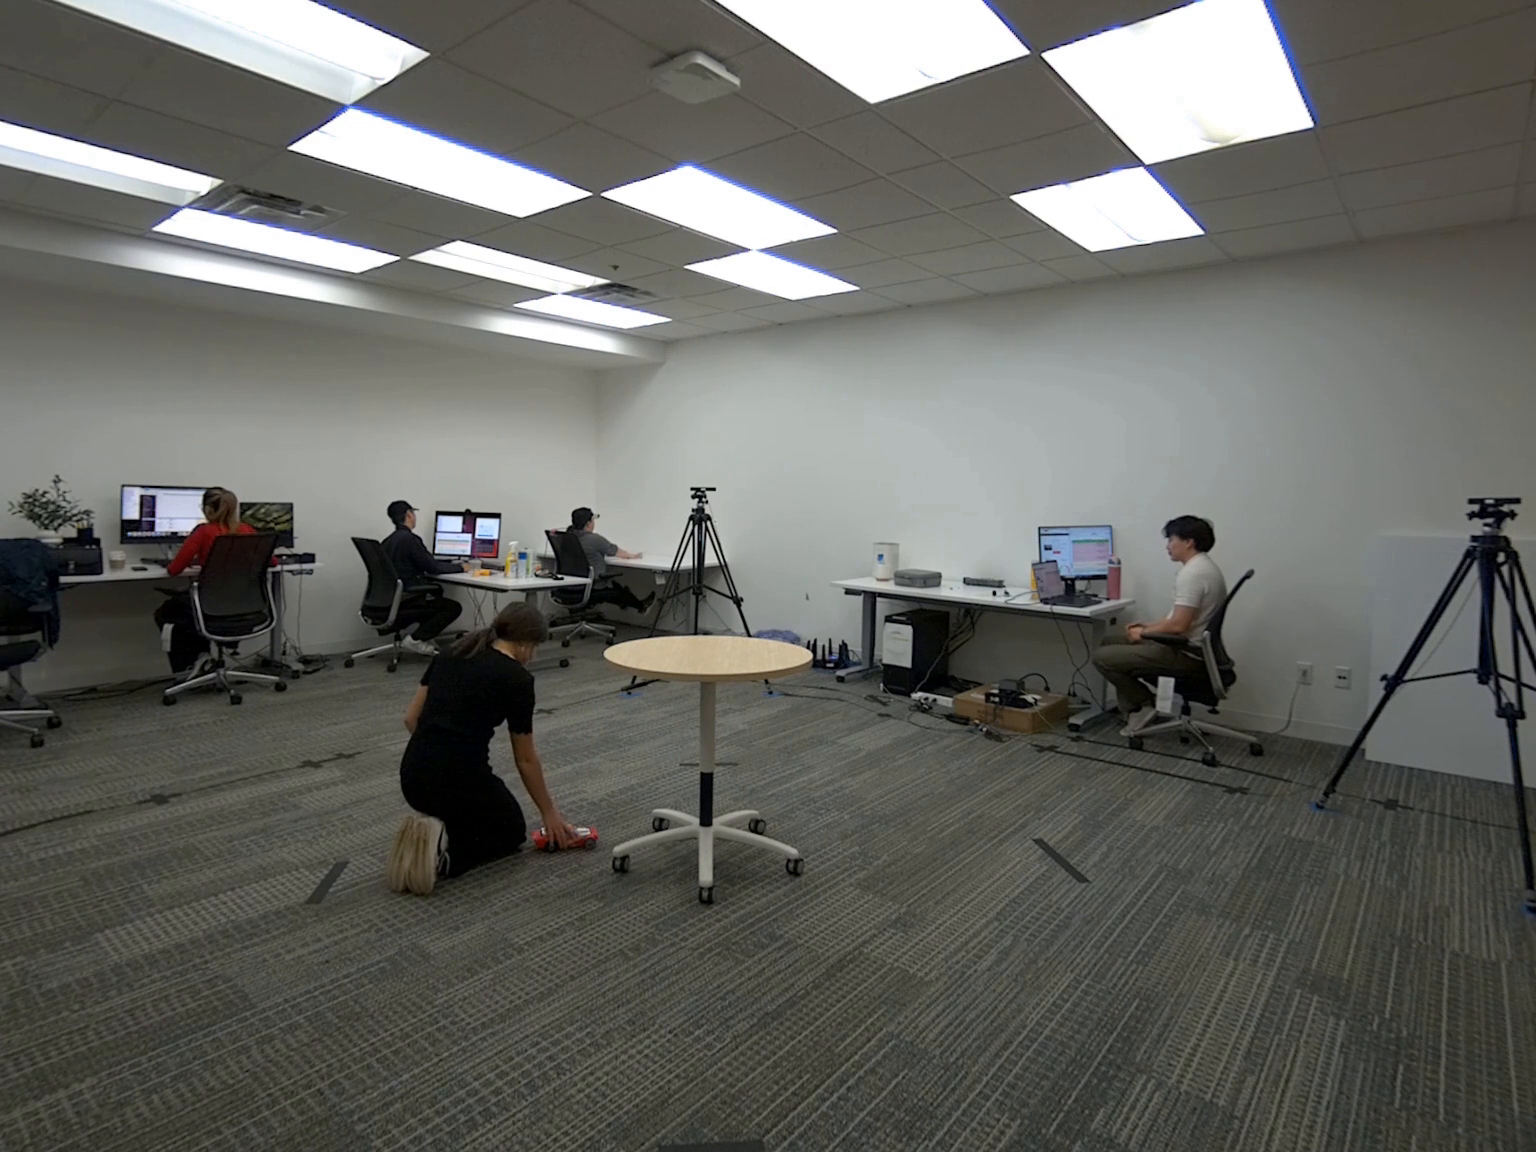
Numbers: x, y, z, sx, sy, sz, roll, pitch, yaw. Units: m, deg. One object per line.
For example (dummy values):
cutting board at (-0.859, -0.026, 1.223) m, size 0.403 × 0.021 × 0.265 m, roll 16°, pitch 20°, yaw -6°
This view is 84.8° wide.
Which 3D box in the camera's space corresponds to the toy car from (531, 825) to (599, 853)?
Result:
toy car at (-0.805, 1.012, 3.279) m, size 0.249 × 0.083 × 0.133 m, roll 12°, pitch 2°, yaw -17°
